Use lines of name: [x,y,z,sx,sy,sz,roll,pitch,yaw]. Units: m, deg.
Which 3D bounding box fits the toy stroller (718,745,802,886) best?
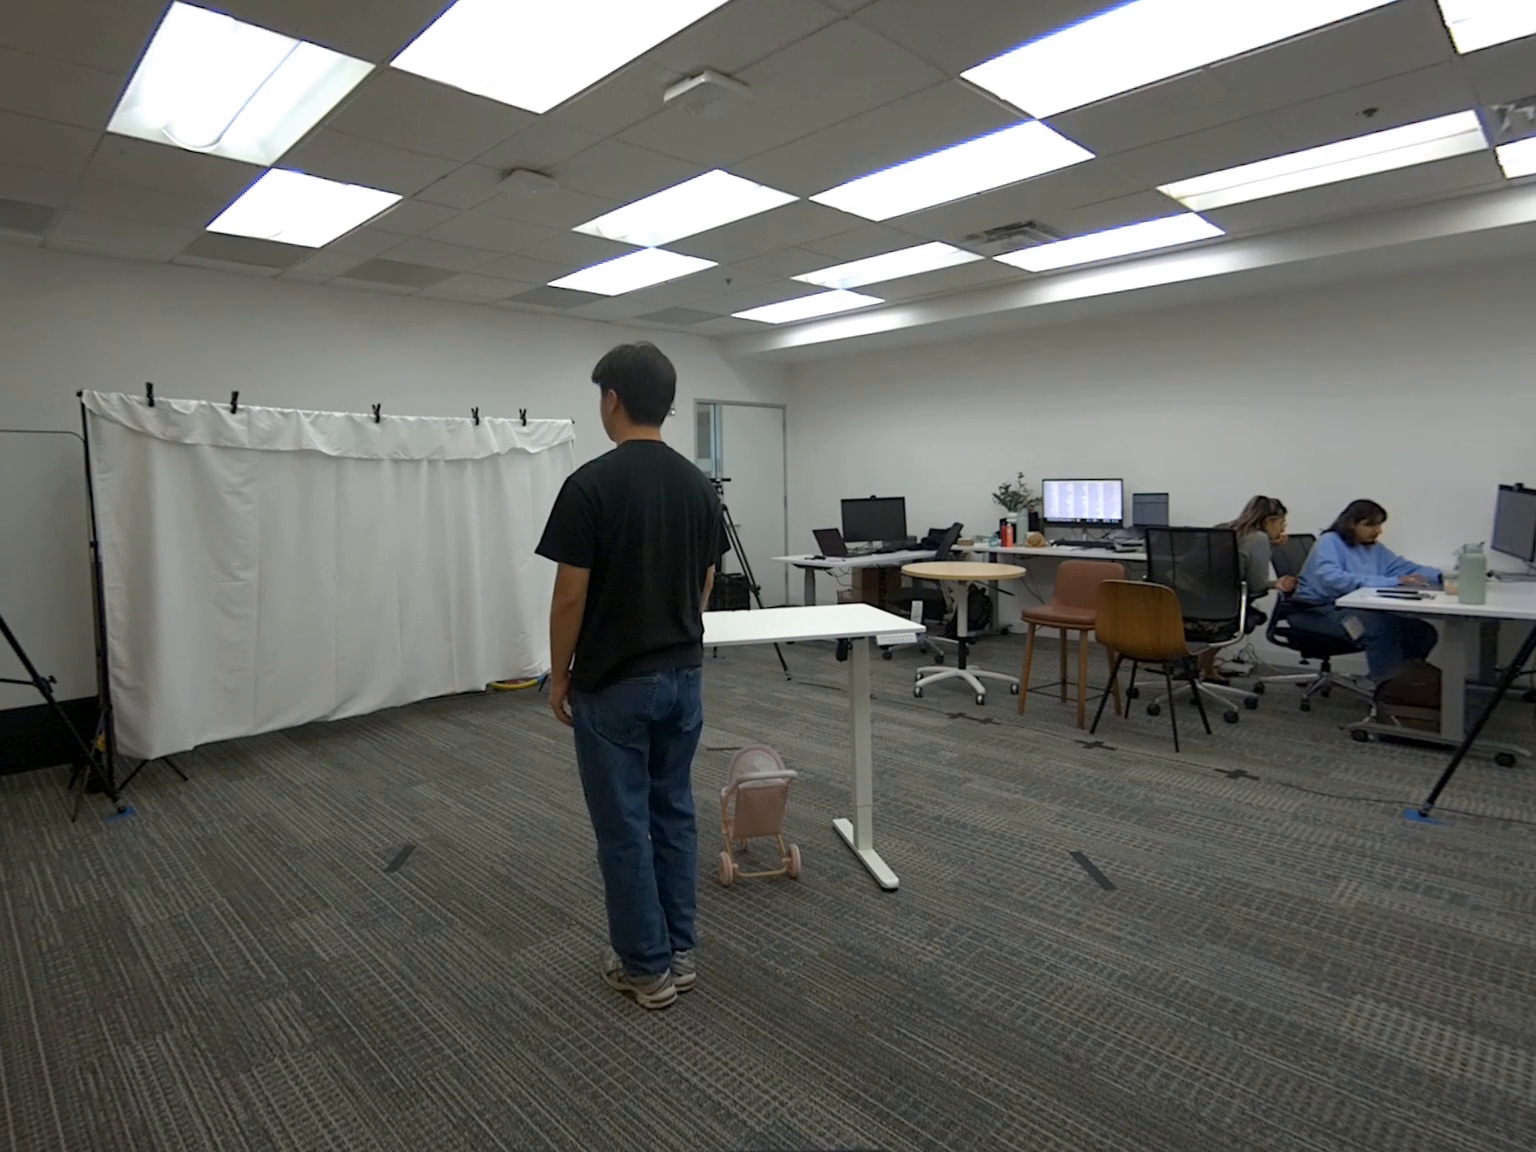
toy stroller: [-0.041,0.826,3.023,0.279,0.526,0.350,-1,20,-9]
